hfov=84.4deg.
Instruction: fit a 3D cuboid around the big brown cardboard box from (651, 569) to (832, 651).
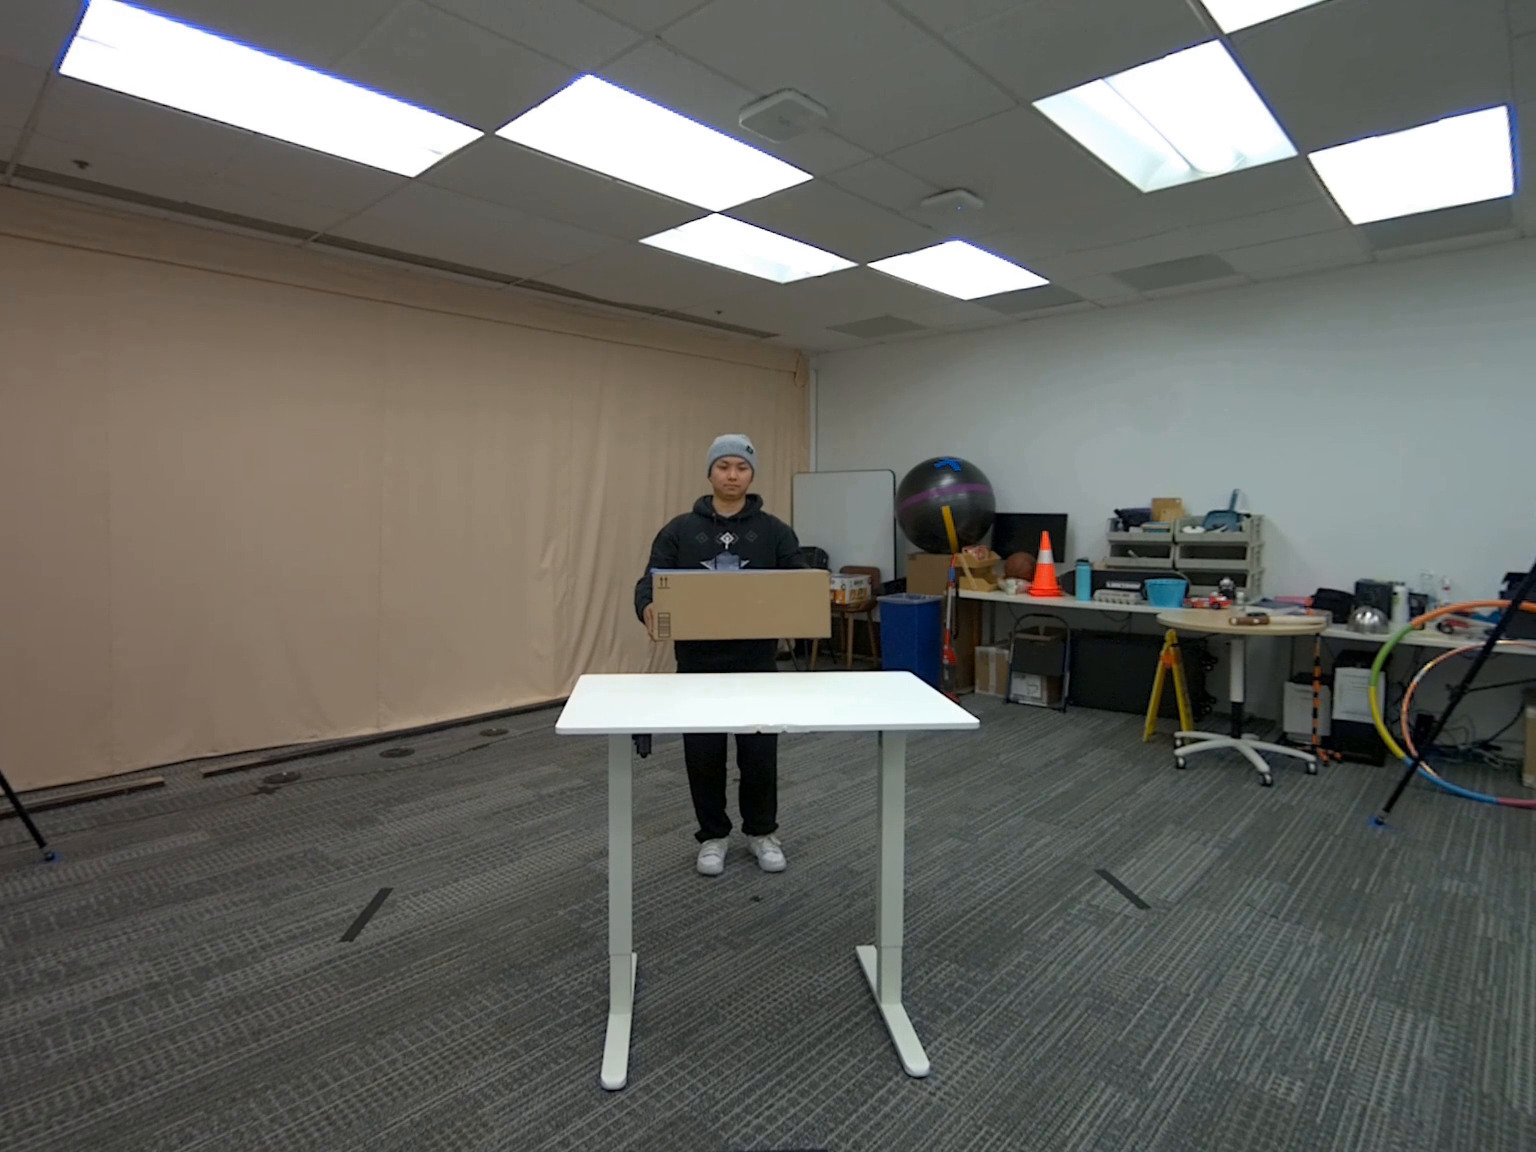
[{"bbox_3d":[-0.106,0.091,2.876,0.586,0.233,0.419,1,0,-5],"label":"big brown cardboard box"}]
